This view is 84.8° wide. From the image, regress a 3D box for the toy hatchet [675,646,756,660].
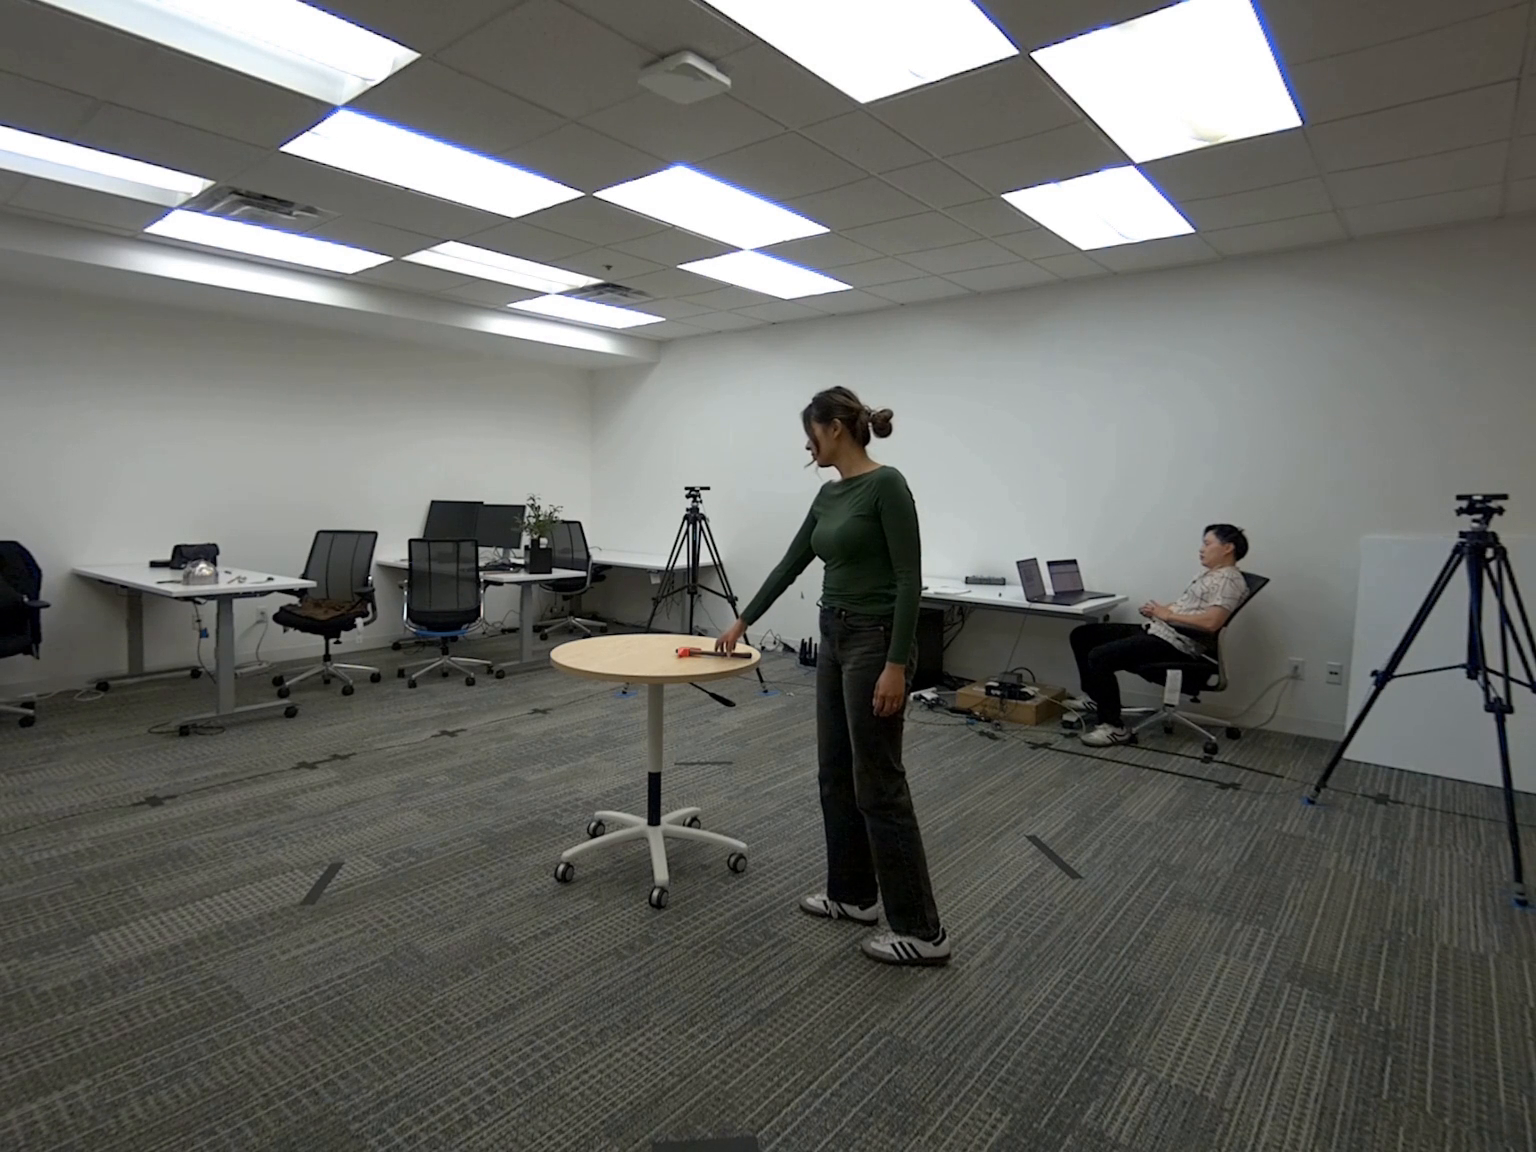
[{"bbox_3d":[-0.211,0.275,3.085,0.268,0.029,0.132,1,3,-8],"label":"toy hatchet"}]
